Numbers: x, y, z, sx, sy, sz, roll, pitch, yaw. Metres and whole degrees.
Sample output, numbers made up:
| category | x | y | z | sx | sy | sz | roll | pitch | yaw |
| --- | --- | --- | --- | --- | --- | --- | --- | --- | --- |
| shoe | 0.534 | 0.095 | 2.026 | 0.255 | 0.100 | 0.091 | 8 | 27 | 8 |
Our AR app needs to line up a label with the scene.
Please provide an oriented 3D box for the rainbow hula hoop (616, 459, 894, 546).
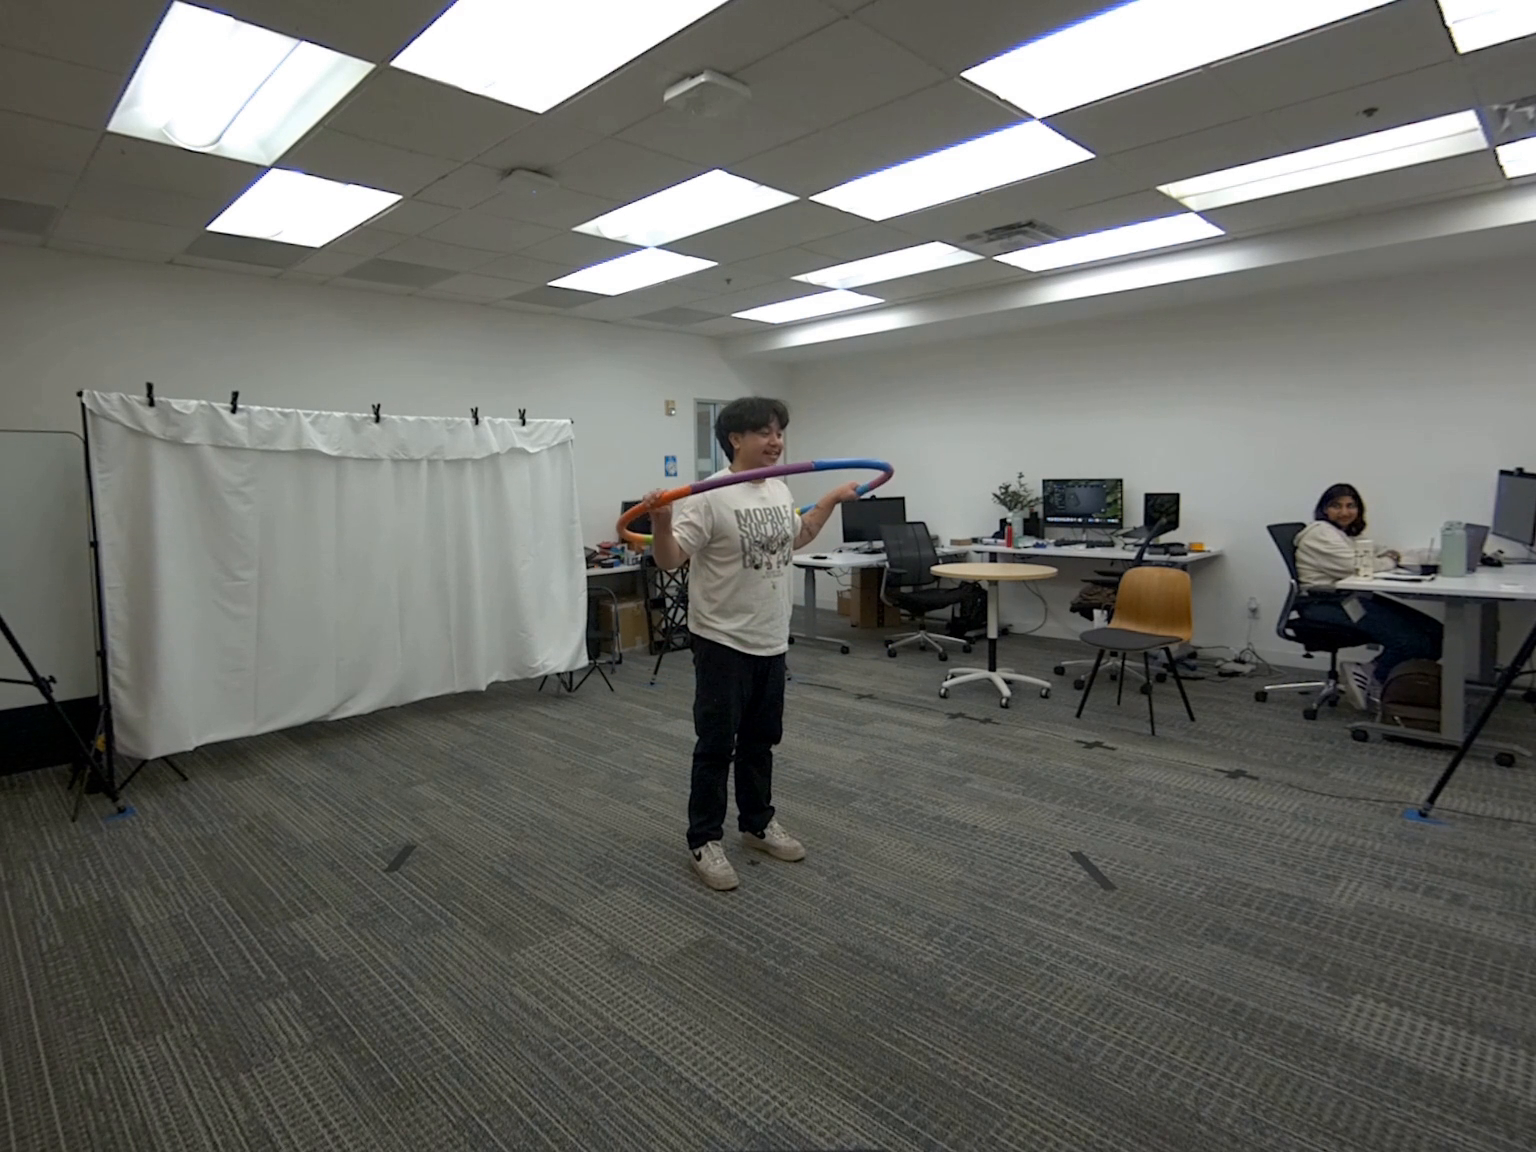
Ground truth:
| category | x | y | z | sx | sy | sz | roll | pitch | yaw |
| --- | --- | --- | --- | --- | --- | --- | --- | --- | --- |
| rainbow hula hoop | -0.060 | -0.248 | 2.996 | 0.983 | 0.052 | 0.979 | -11 | -6 | -3 |
